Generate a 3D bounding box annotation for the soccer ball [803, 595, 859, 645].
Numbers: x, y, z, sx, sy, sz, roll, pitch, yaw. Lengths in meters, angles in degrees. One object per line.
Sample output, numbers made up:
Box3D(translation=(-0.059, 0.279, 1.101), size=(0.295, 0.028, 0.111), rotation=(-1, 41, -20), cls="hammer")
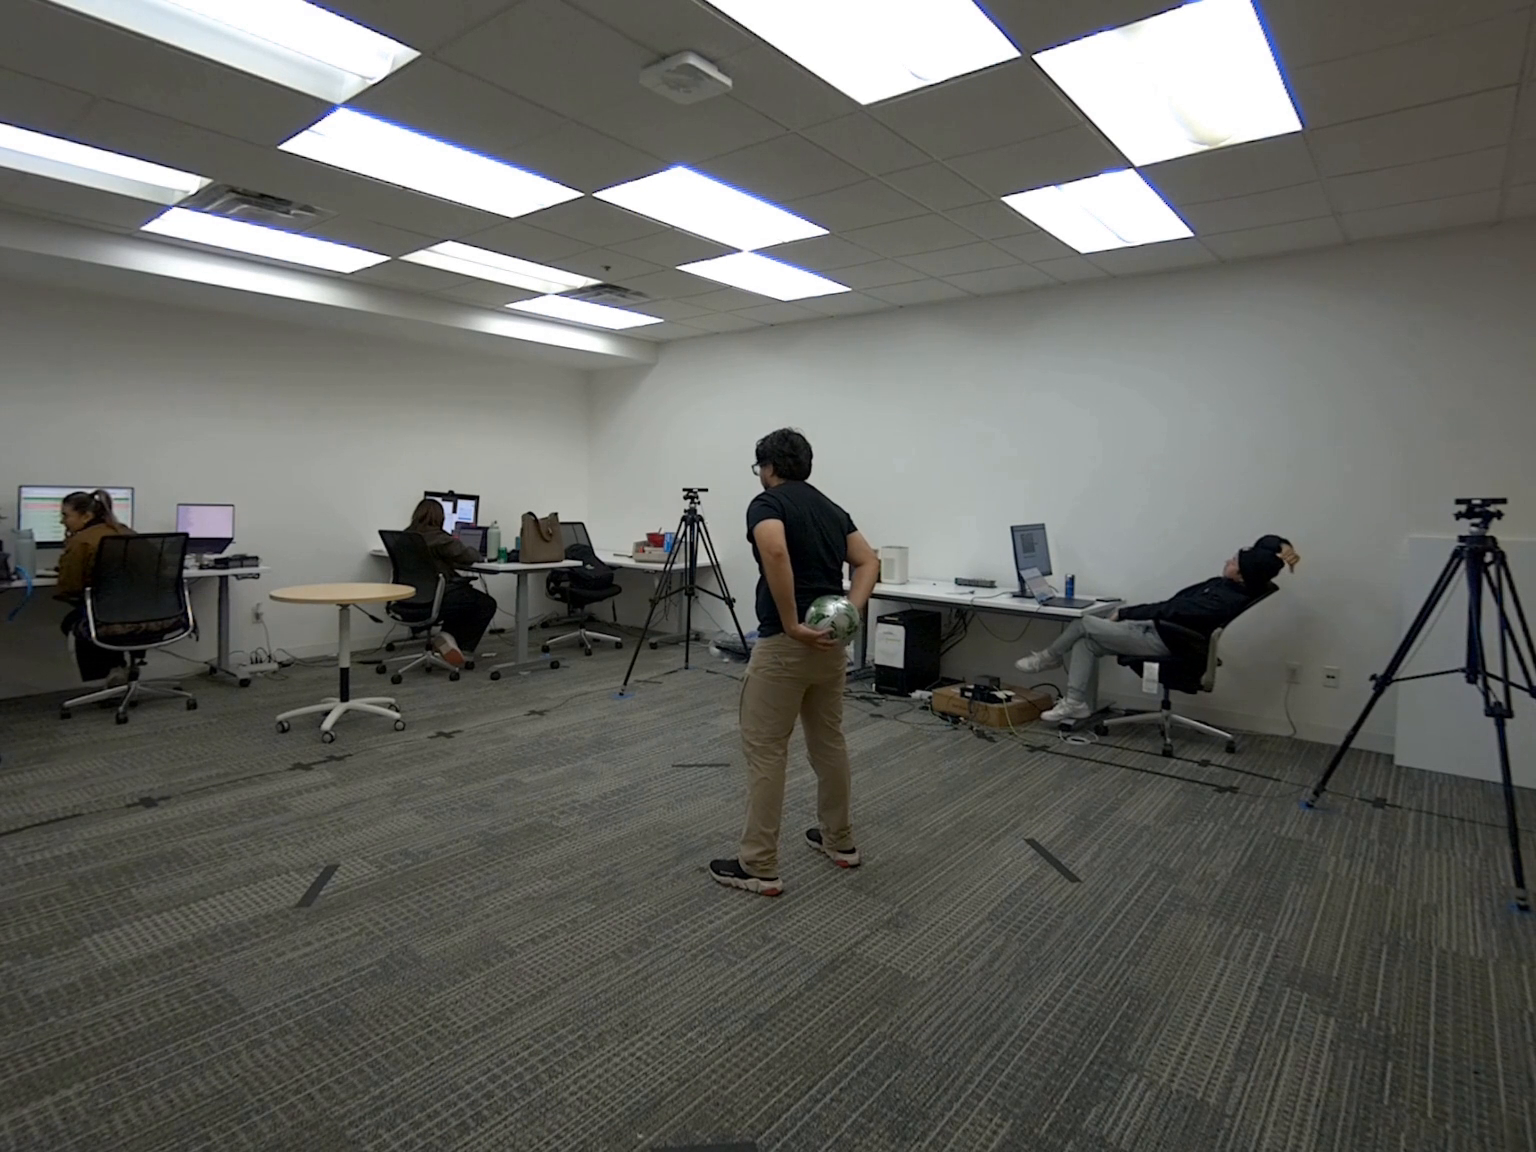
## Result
Box3D(translation=(0.205, 0.153, 2.910), size=(0.187, 0.187, 0.188), rotation=(1, 4, -2), cls="soccer ball")
